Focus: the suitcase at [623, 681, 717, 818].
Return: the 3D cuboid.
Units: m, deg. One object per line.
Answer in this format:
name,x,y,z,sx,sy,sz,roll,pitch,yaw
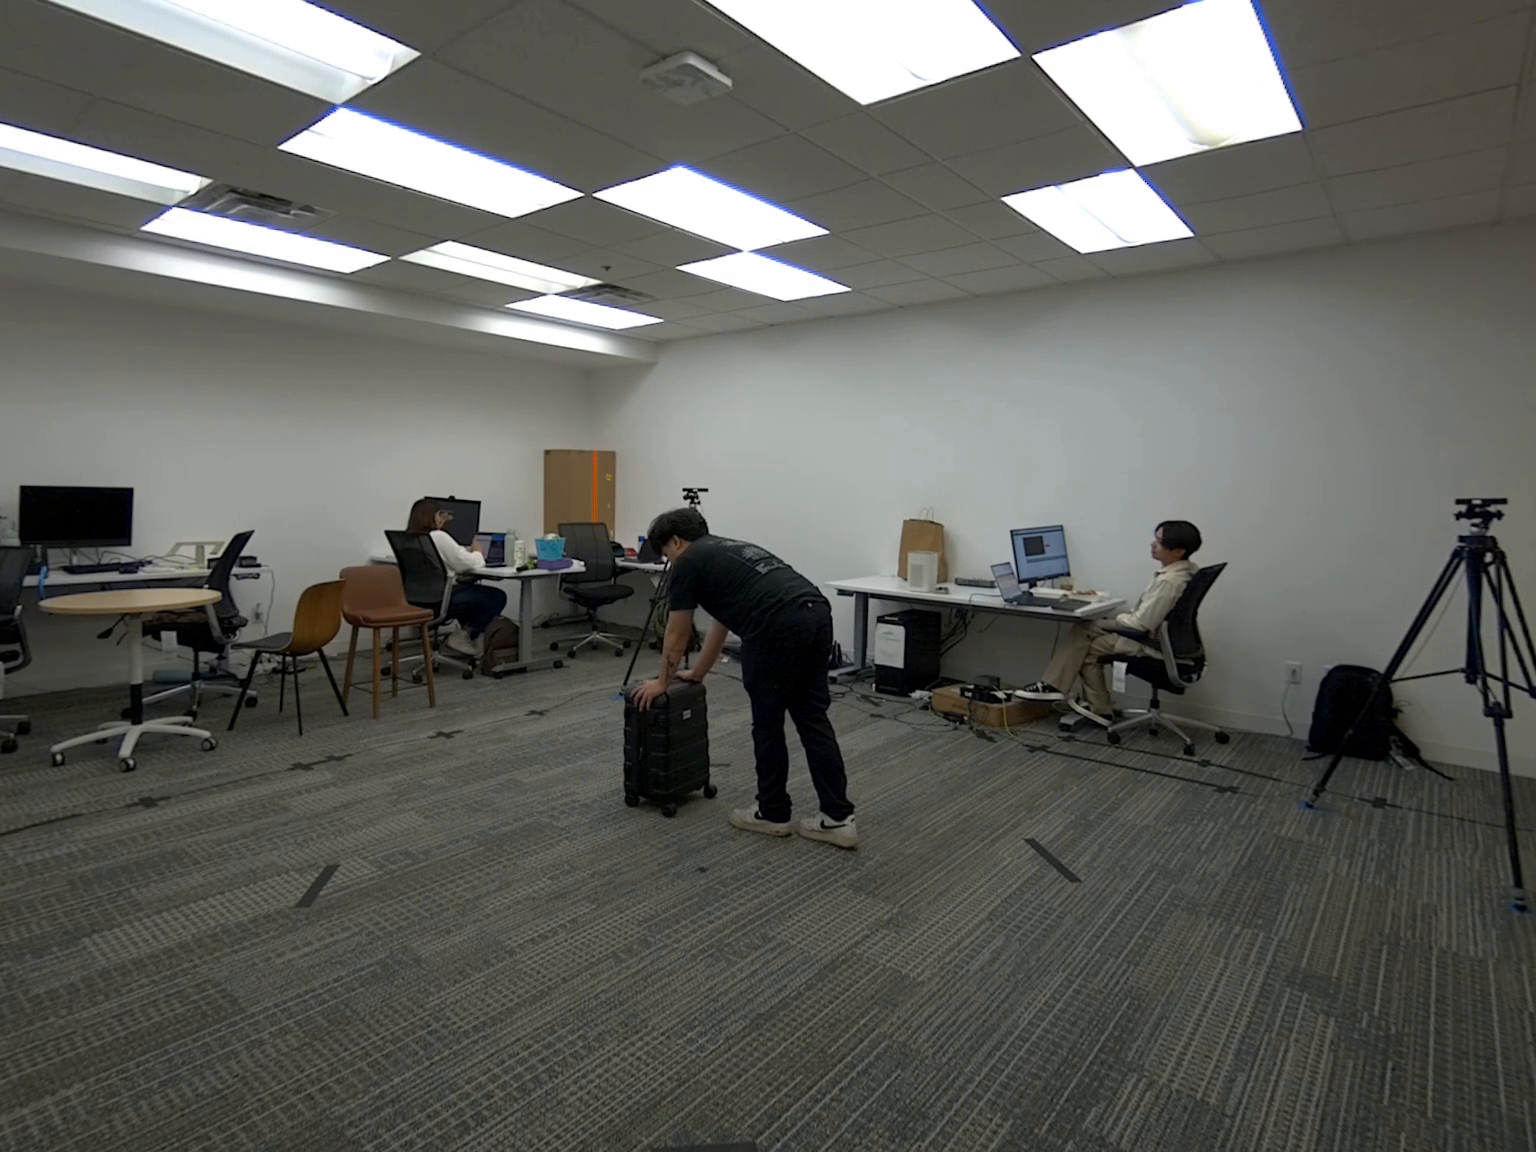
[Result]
suitcase,-0.461,0.728,3.798,0.256,0.548,0.365,0,2,33
